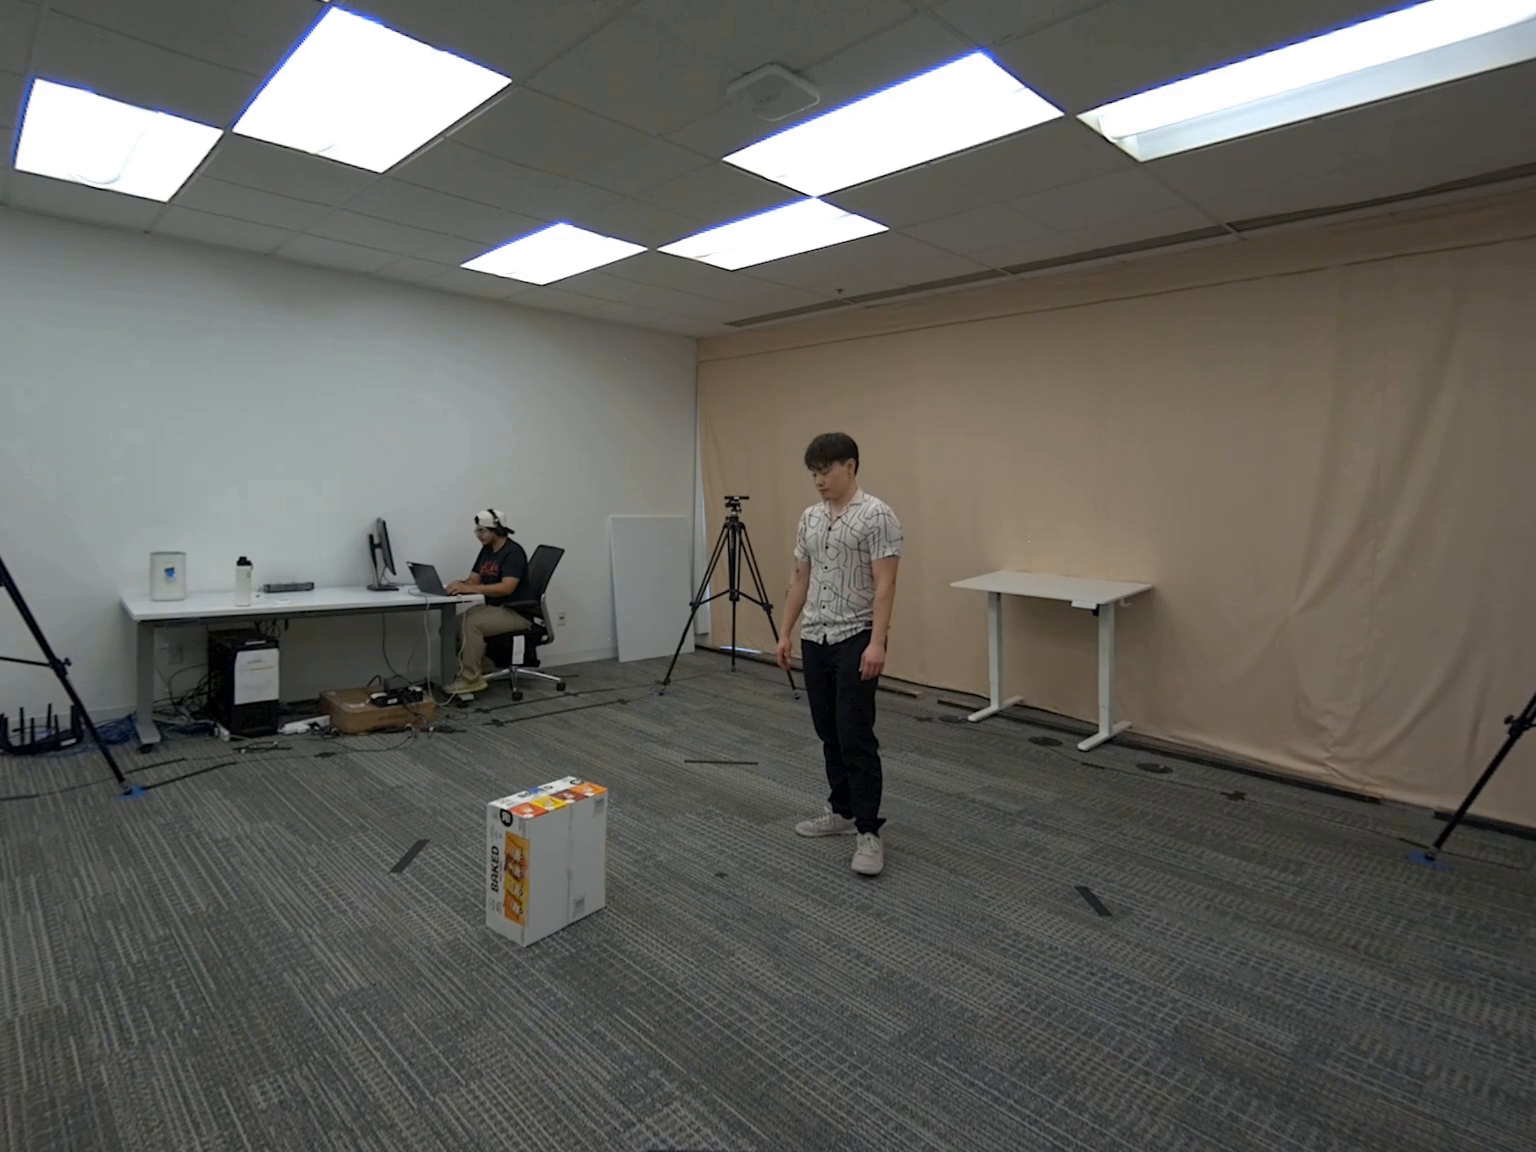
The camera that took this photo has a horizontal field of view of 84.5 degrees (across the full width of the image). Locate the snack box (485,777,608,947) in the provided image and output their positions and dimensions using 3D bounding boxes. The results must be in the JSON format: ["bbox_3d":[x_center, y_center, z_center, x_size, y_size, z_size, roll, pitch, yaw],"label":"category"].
[{"bbox_3d":[-0.726,0.921,2.753,0.211,0.404,0.333,4,4,37],"label":"snack box"}]
